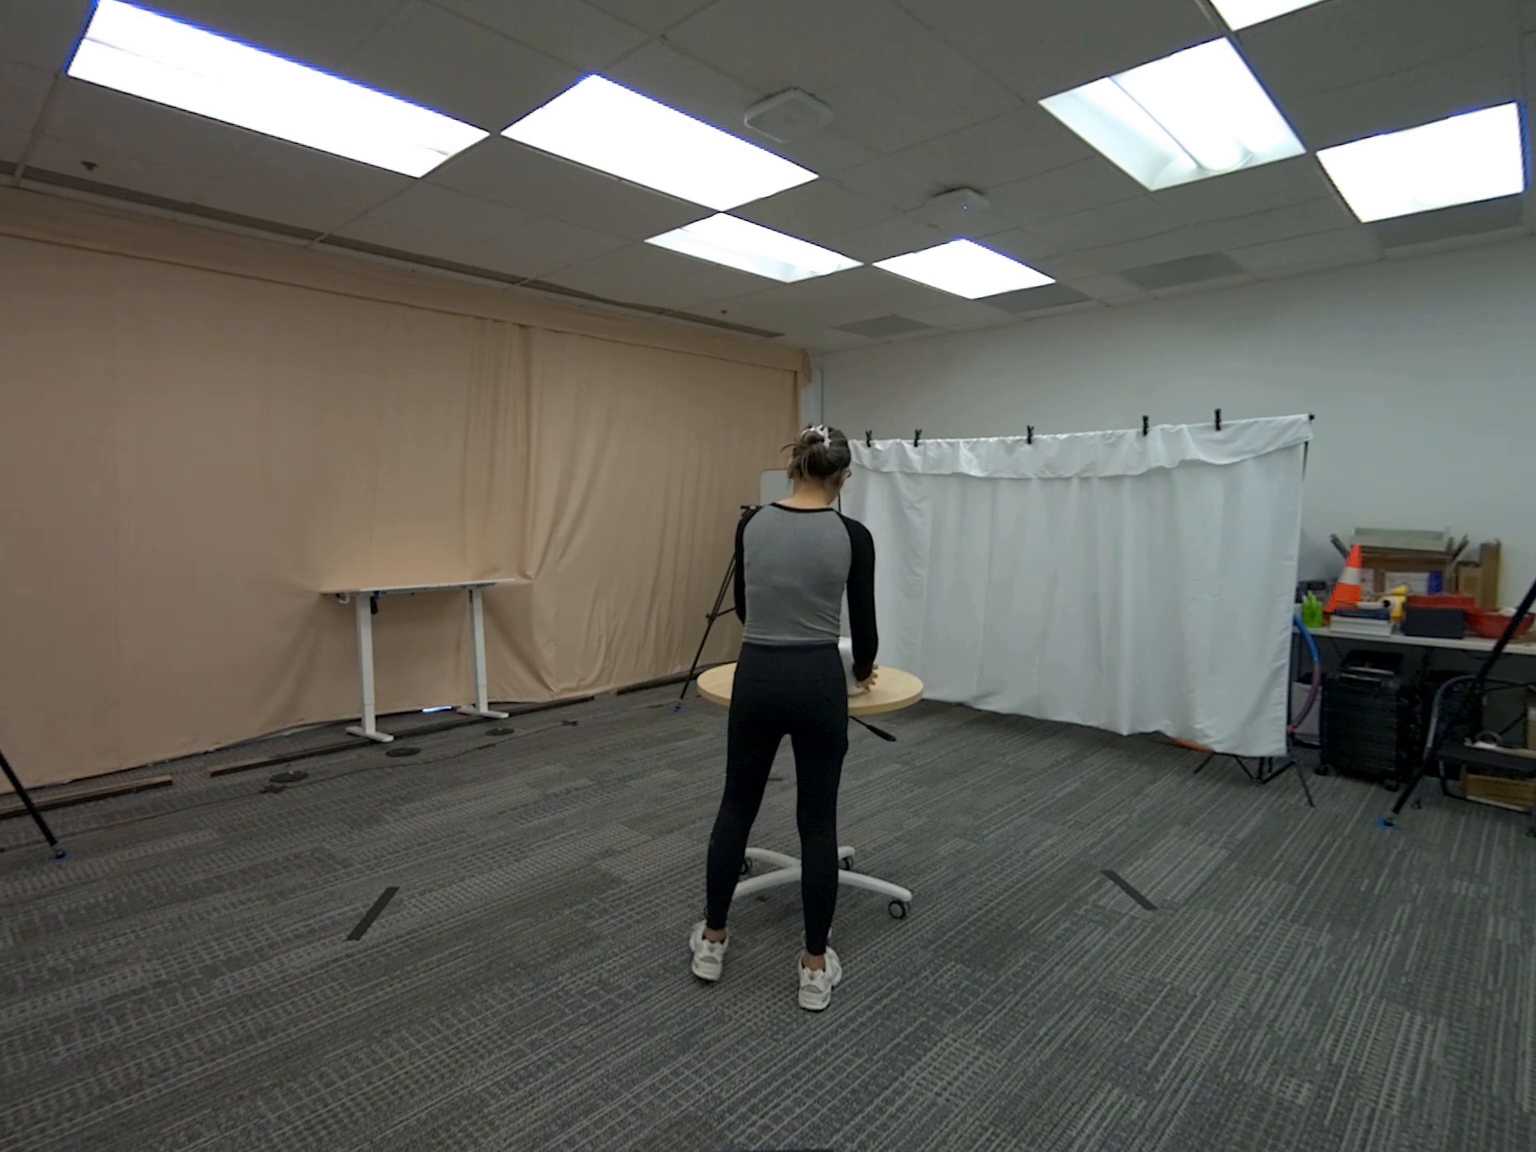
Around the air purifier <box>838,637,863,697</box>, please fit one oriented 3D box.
[{"bbox_3d":[0.201,0.283,2.743,0.274,0.171,0.166,3,5,35],"label":"air purifier"}]
